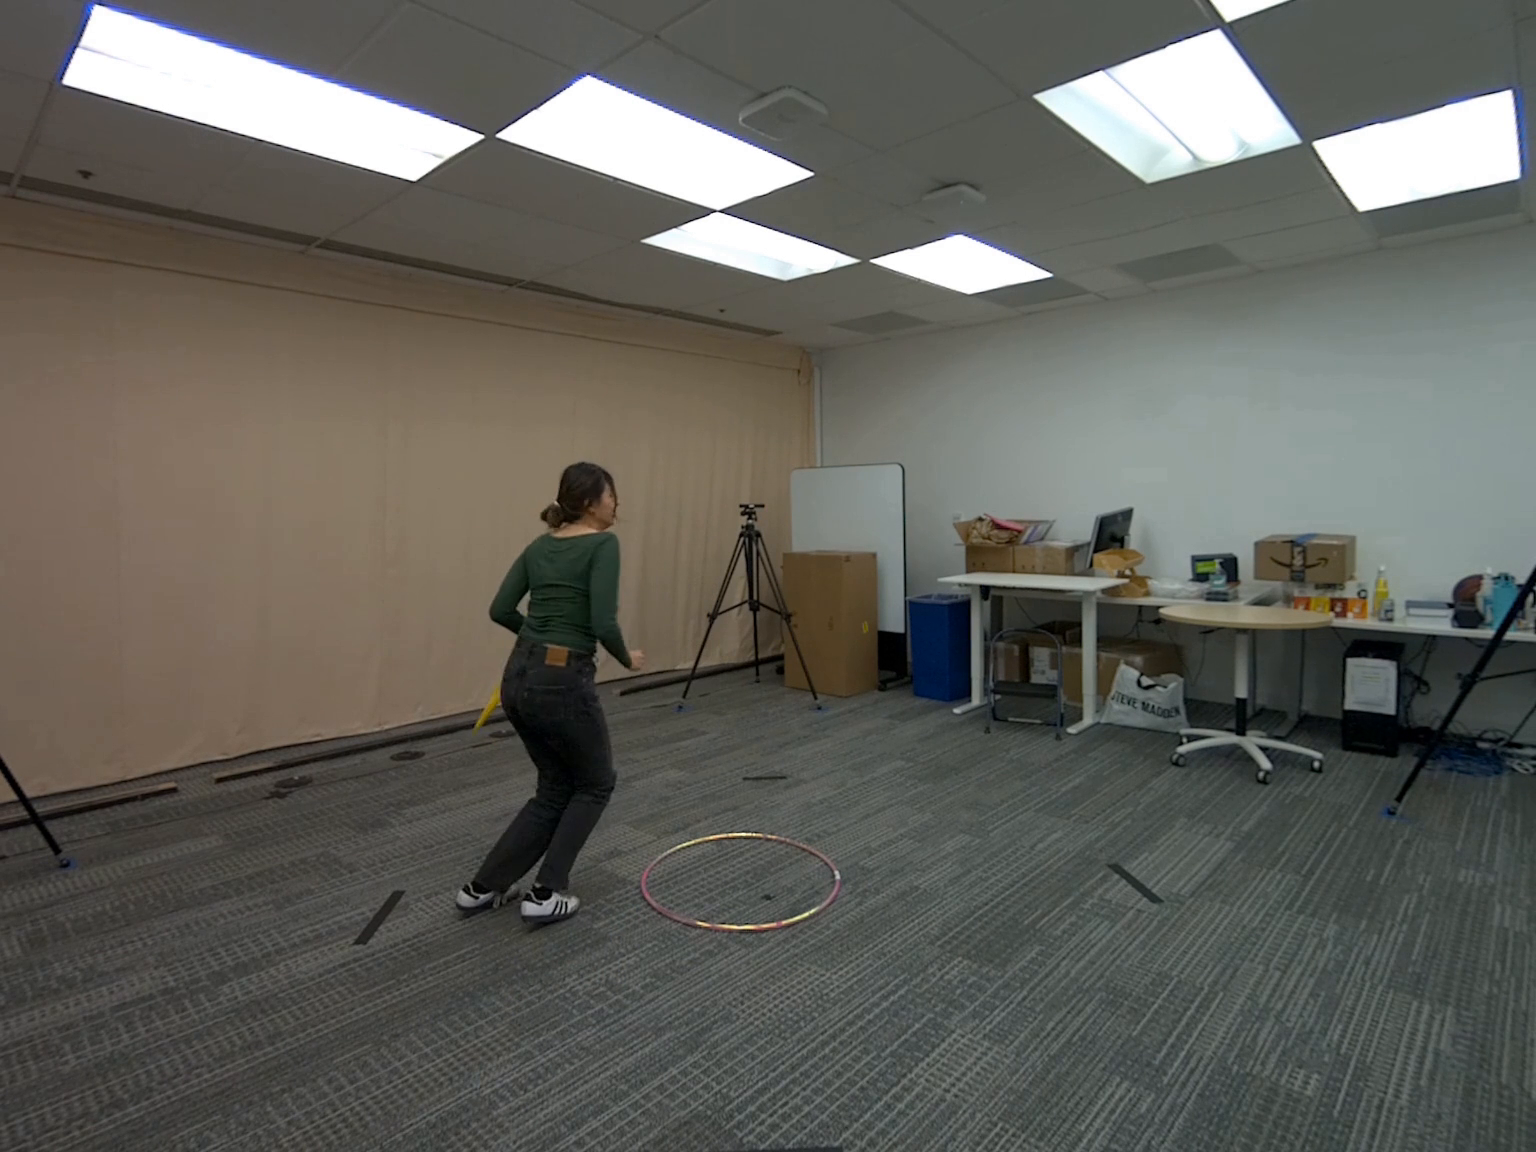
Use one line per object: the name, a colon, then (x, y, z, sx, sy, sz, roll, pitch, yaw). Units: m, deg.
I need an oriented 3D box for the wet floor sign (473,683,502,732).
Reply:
wet floor sign: (-0.922, 0.385, 3.370, 0.287, 0.645, 0.285, 23, 40, -8)
